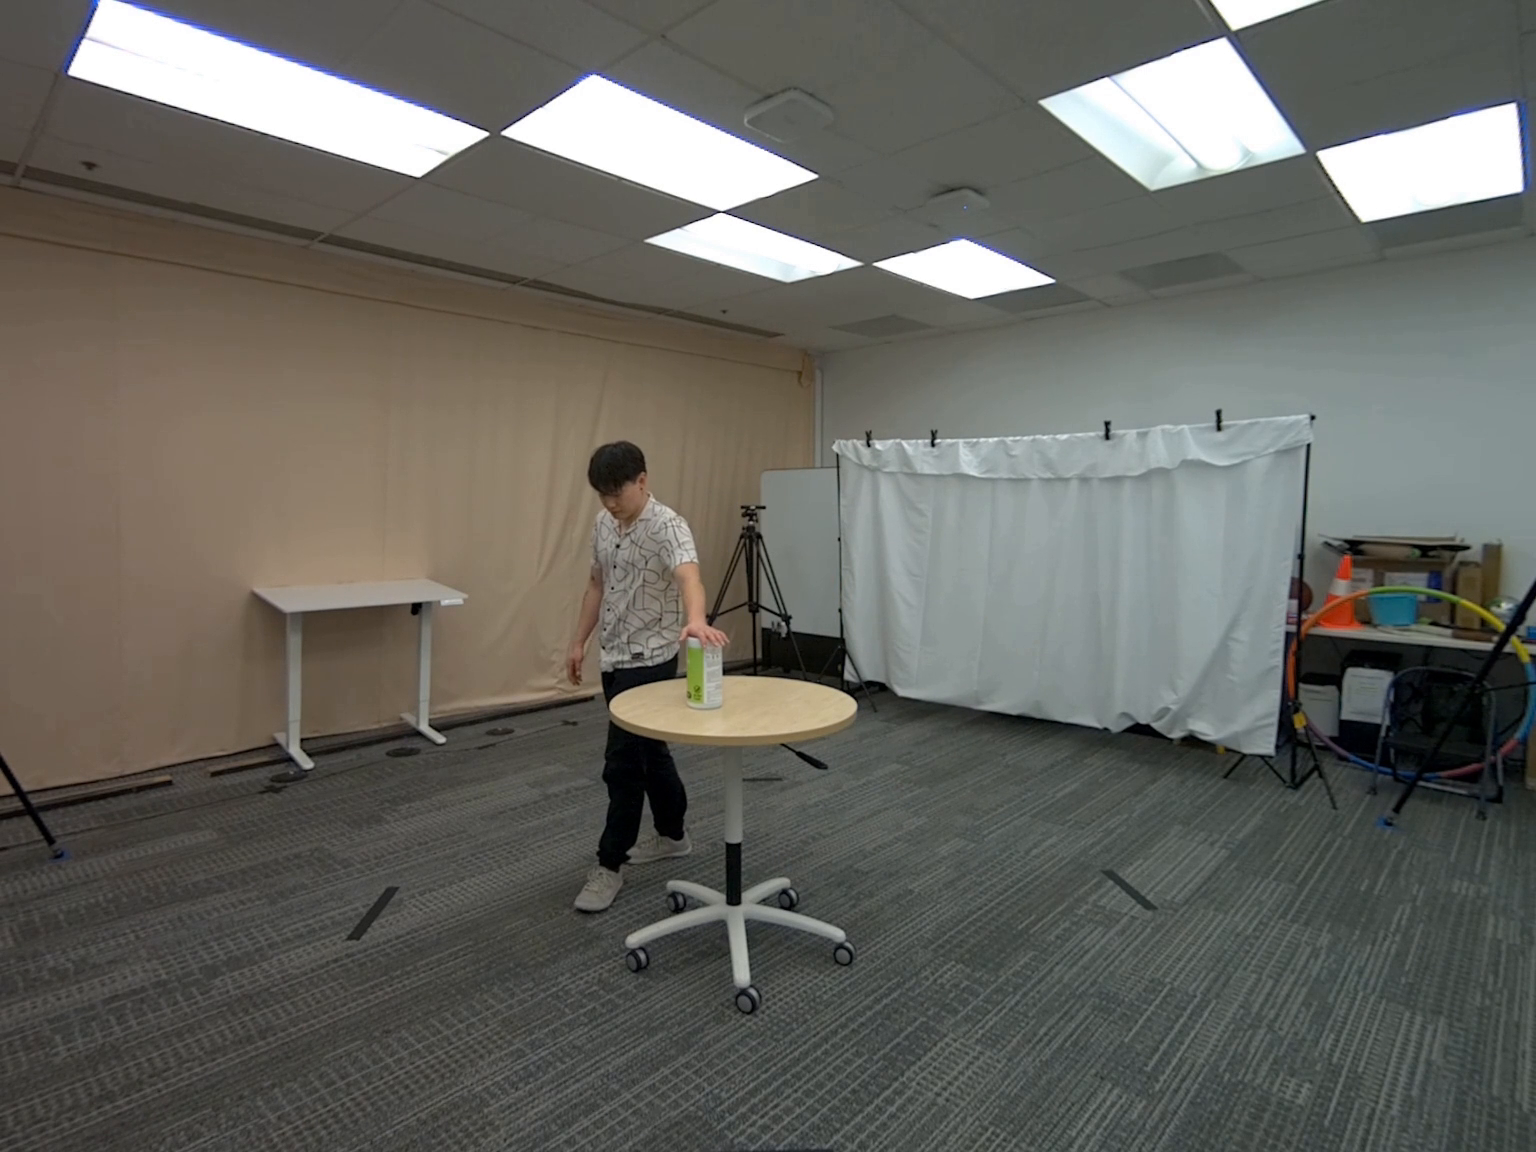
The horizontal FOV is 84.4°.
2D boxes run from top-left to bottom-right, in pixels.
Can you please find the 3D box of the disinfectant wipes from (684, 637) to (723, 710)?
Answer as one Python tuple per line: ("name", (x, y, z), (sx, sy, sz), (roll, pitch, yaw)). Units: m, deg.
("disinfectant wipes", (-0.187, 0.294, 2.571), (0.118, 0.217, 0.118), (-1, 3, -2))
